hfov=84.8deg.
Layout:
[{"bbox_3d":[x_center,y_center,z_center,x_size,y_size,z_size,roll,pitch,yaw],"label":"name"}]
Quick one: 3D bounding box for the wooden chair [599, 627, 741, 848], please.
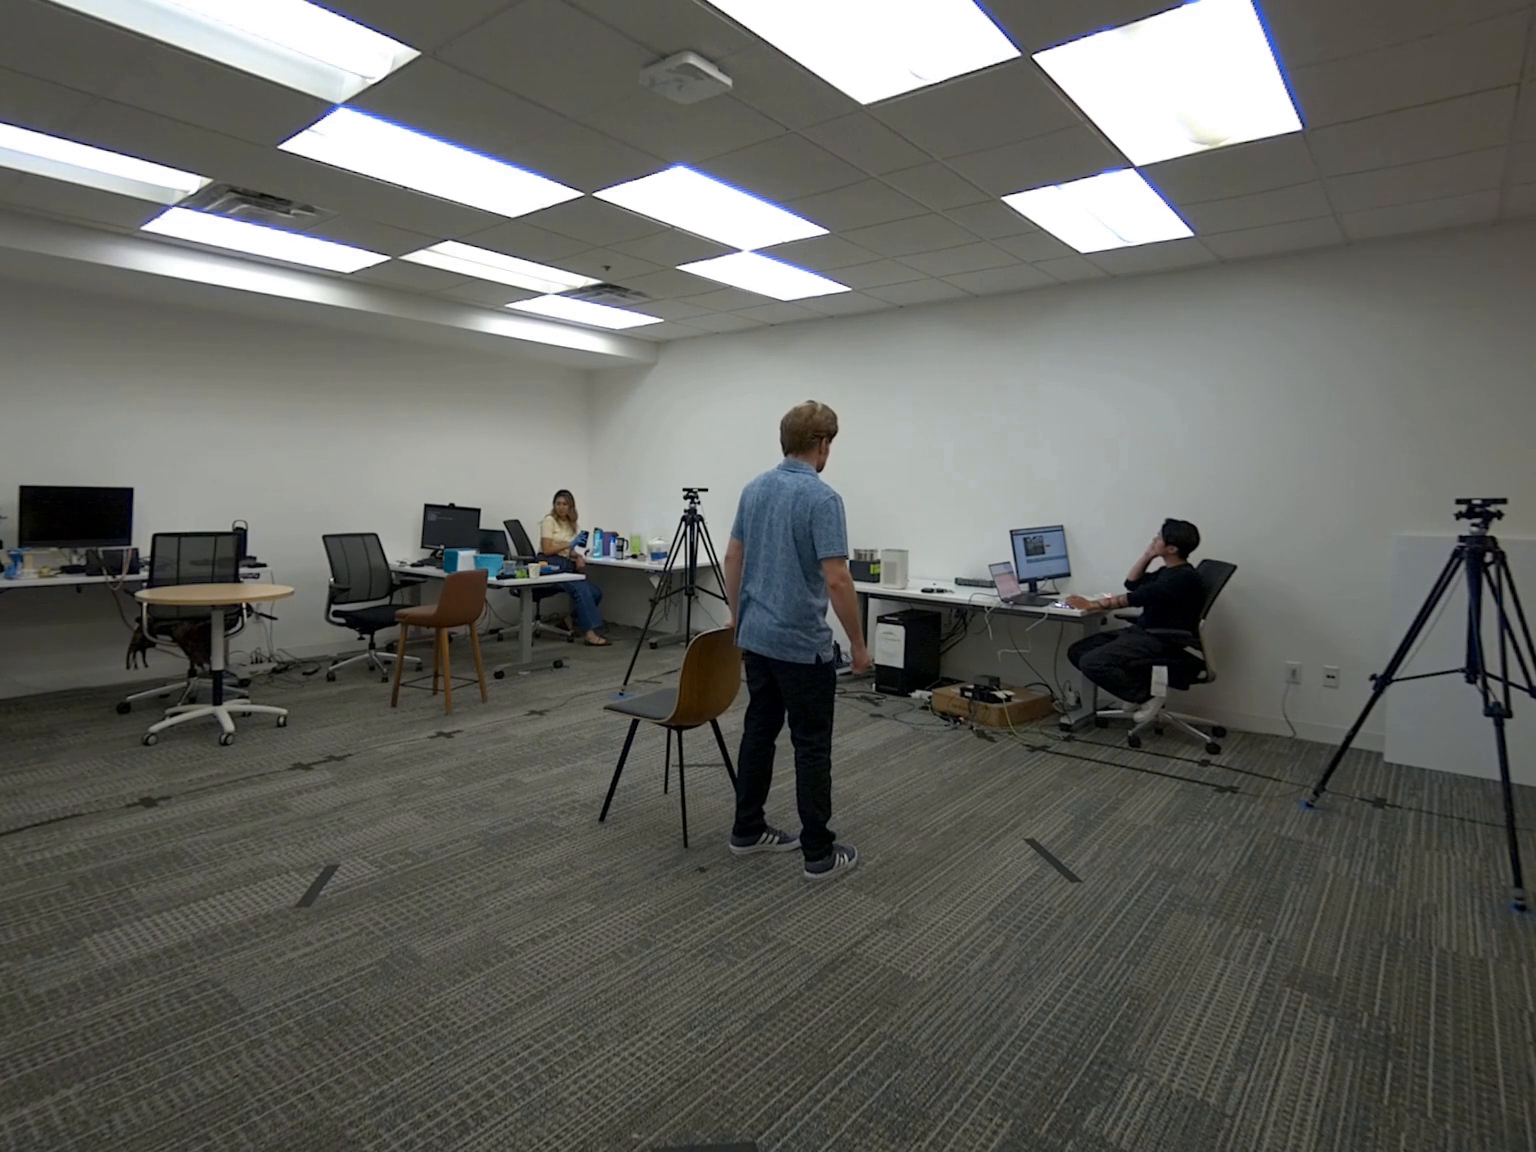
[{"bbox_3d":[-0.406,0.592,3.571,0.540,0.873,0.465,9,7,32],"label":"wooden chair"}]
